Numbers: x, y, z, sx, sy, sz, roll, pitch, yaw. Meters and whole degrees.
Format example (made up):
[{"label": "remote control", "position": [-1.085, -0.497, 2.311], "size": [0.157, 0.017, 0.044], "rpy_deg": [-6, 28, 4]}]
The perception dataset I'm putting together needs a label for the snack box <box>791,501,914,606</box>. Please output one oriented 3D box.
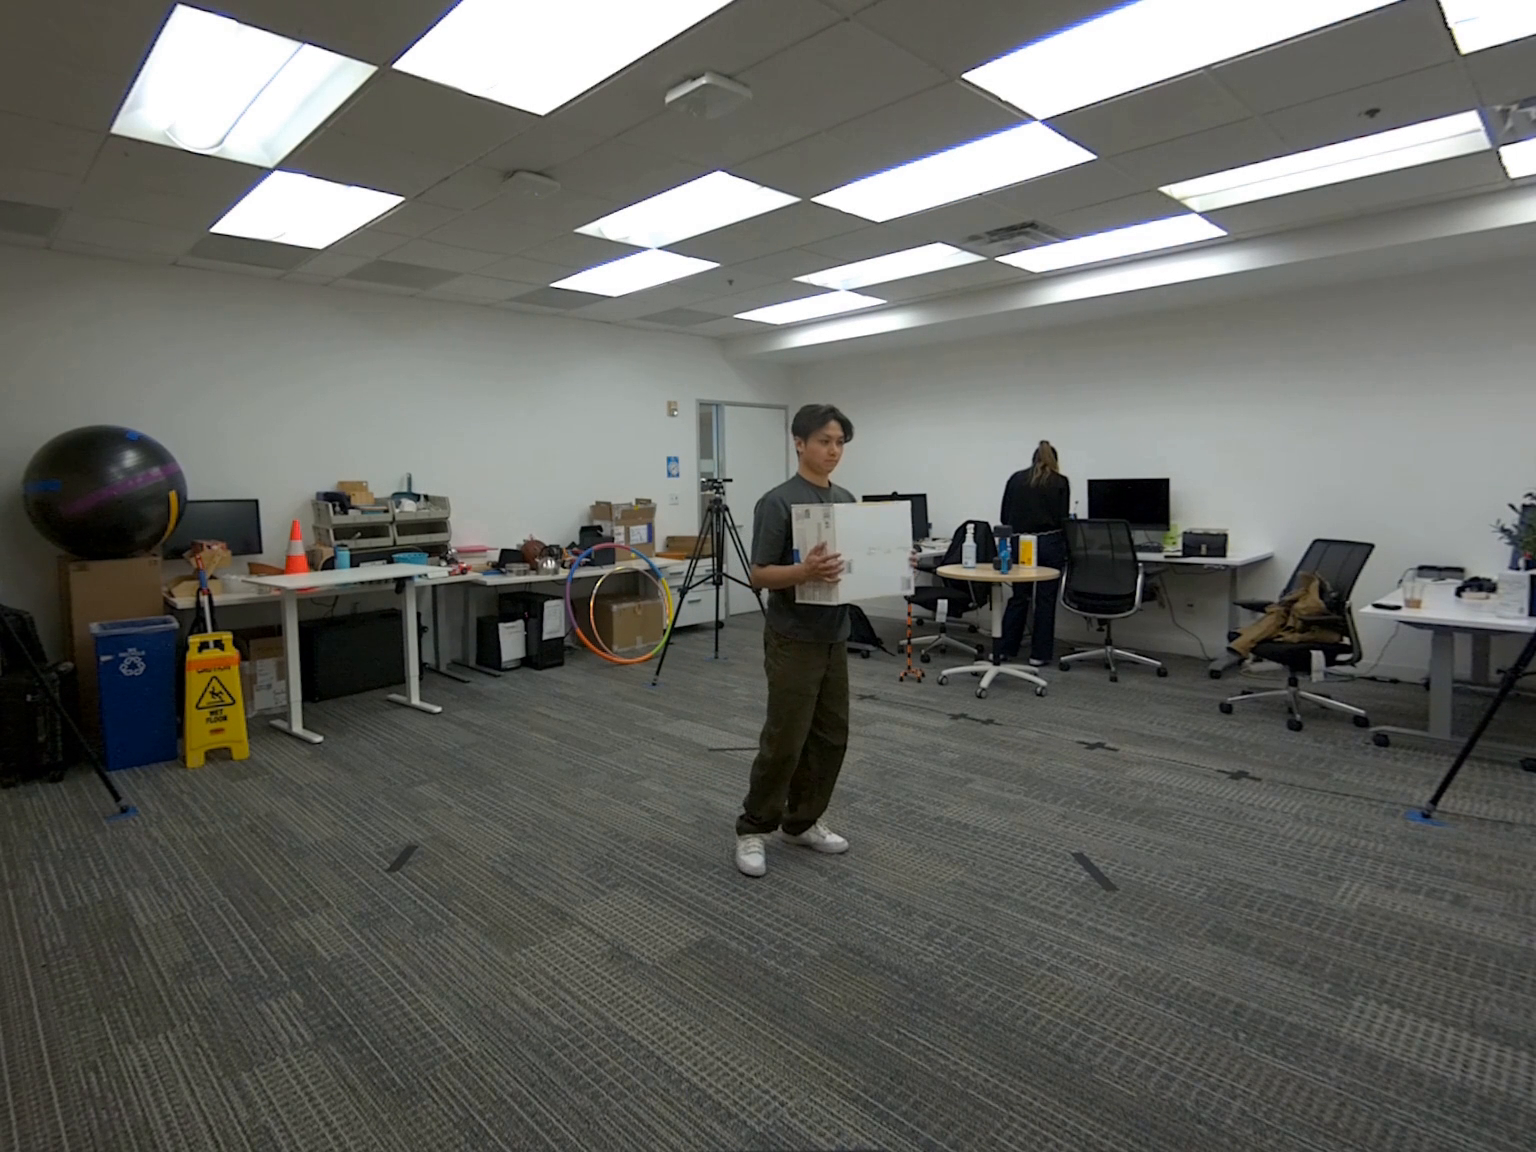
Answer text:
[{"label": "snack box", "position": [0.292, -0.087, 3.013], "size": [0.394, 0.339, 0.211], "rpy_deg": [-5, 4, -40]}]
